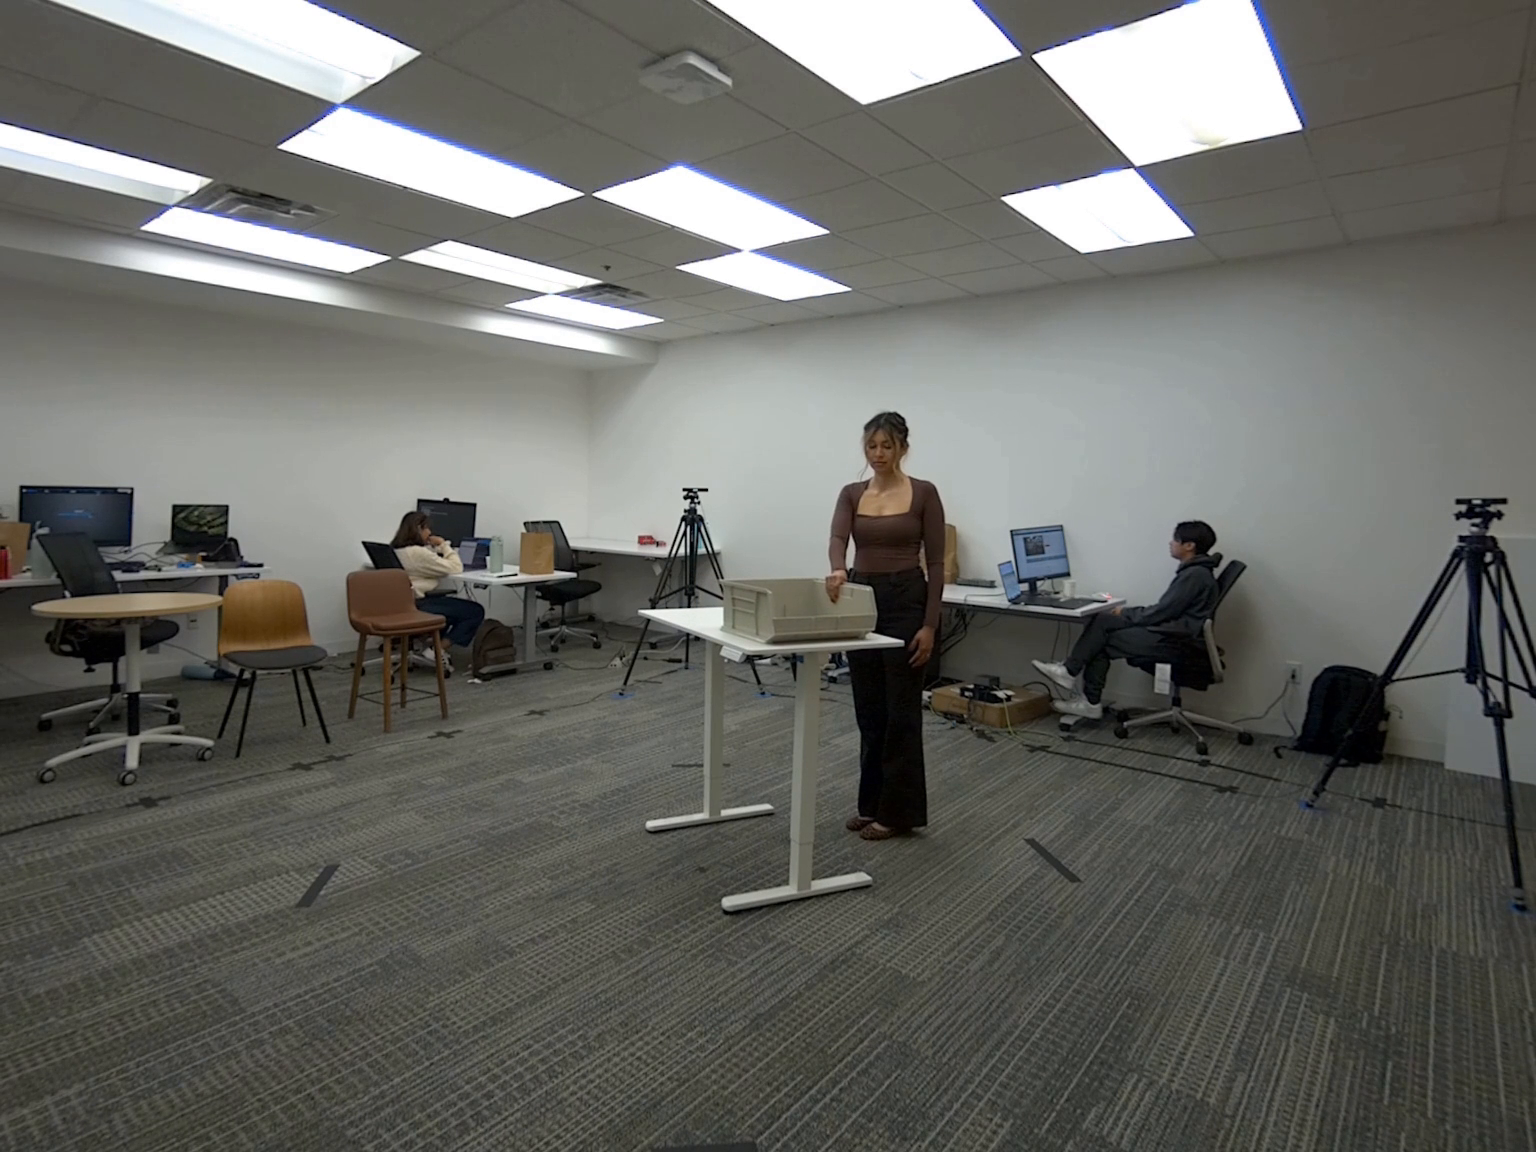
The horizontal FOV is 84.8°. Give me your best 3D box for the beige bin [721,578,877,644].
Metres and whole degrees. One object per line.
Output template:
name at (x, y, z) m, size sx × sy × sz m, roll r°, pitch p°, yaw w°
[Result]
beige bin at (0.092, 0.116, 2.963) m, size 0.411 × 0.188 × 0.388 m, roll -2°, pitch 4°, yaw -30°
